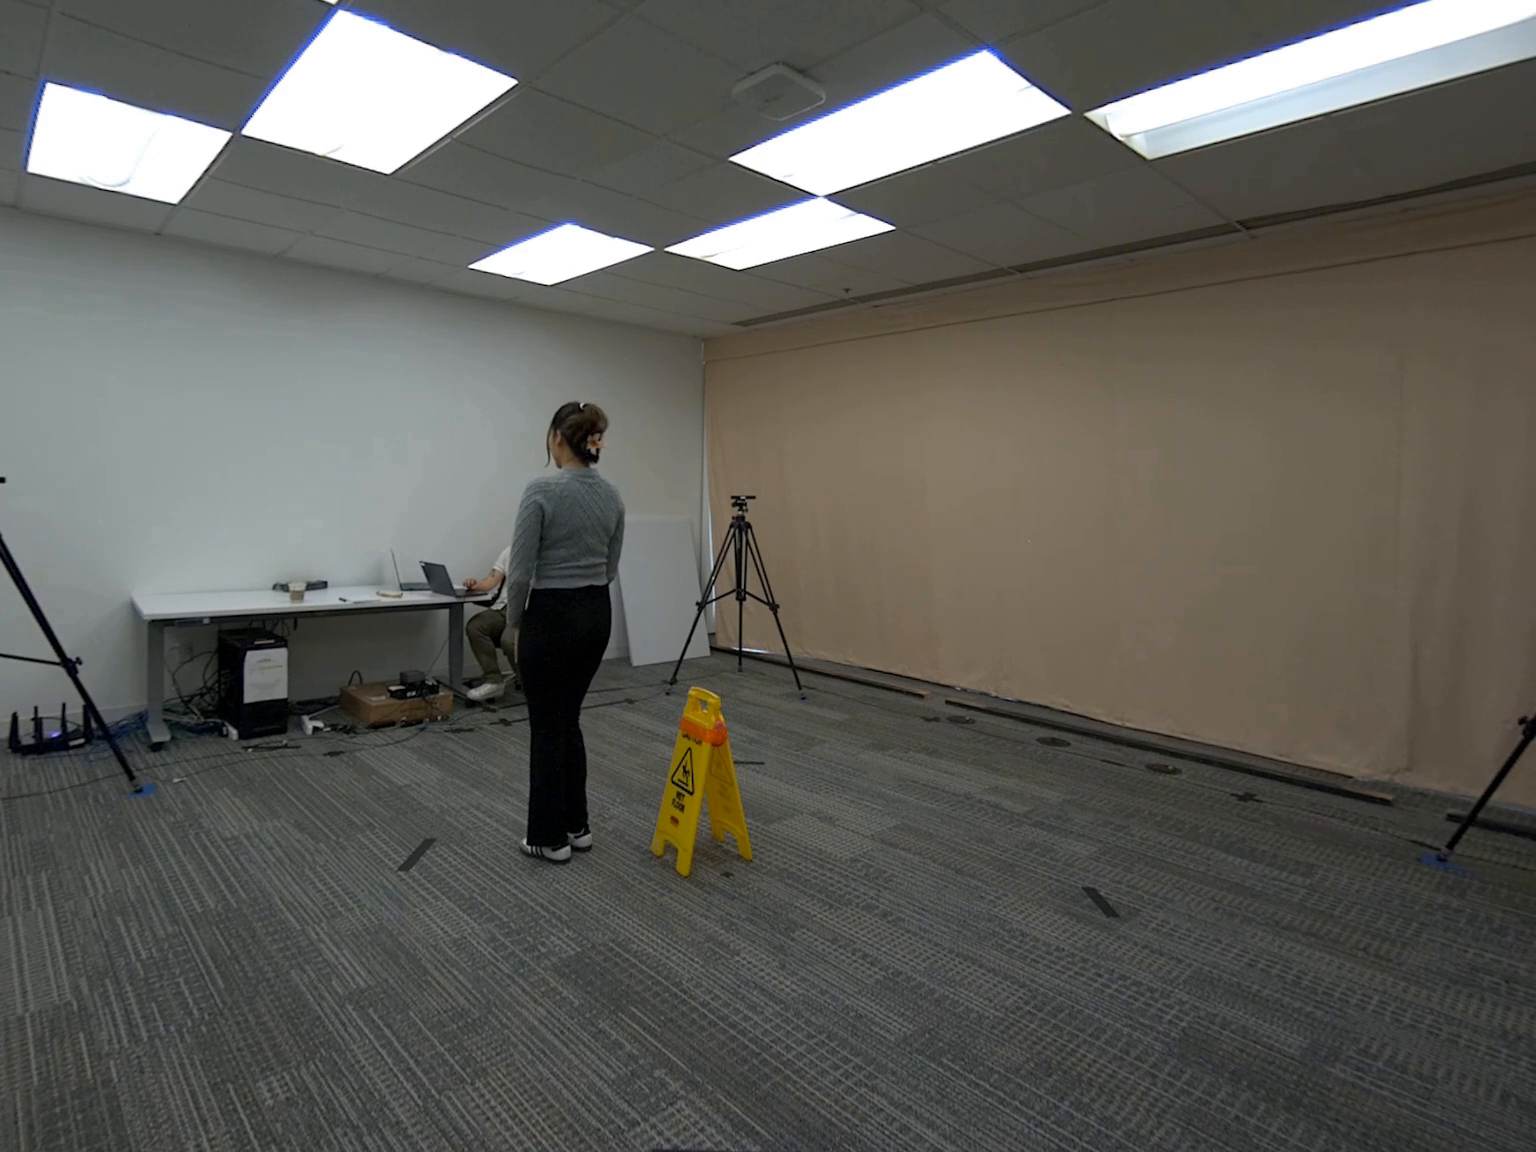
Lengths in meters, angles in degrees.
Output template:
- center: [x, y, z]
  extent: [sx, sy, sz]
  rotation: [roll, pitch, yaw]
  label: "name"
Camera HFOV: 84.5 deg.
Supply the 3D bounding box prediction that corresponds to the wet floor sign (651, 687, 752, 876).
- center: [-0.259, 0.764, 3.249]
  extent: [0.283, 0.644, 0.289]
  rotation: [0, 4, -35]
  label: "wet floor sign"
